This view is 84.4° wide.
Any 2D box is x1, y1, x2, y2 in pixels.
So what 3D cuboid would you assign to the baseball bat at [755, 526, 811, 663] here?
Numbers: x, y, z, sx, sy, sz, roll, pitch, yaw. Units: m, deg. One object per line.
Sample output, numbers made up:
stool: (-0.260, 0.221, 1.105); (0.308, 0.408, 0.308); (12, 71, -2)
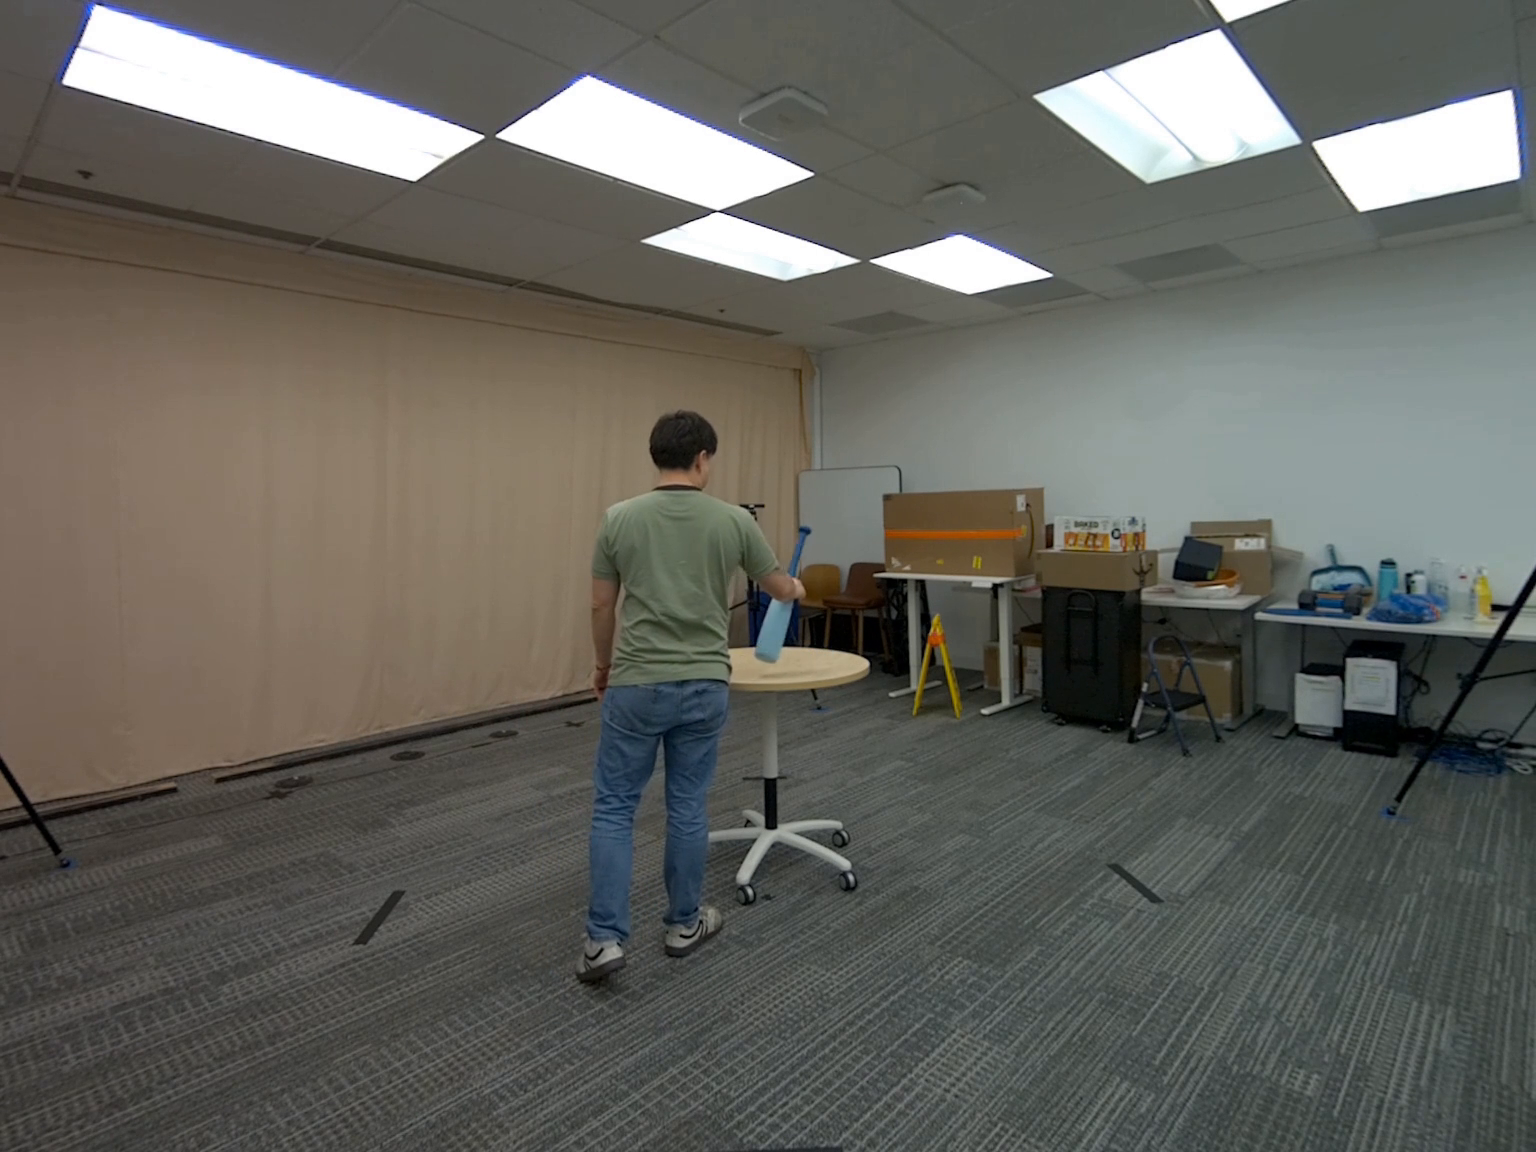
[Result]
baseball bat: (0.072, 0.061, 3.072); (0.089, 0.546, 0.088); (15, -21, 4)
